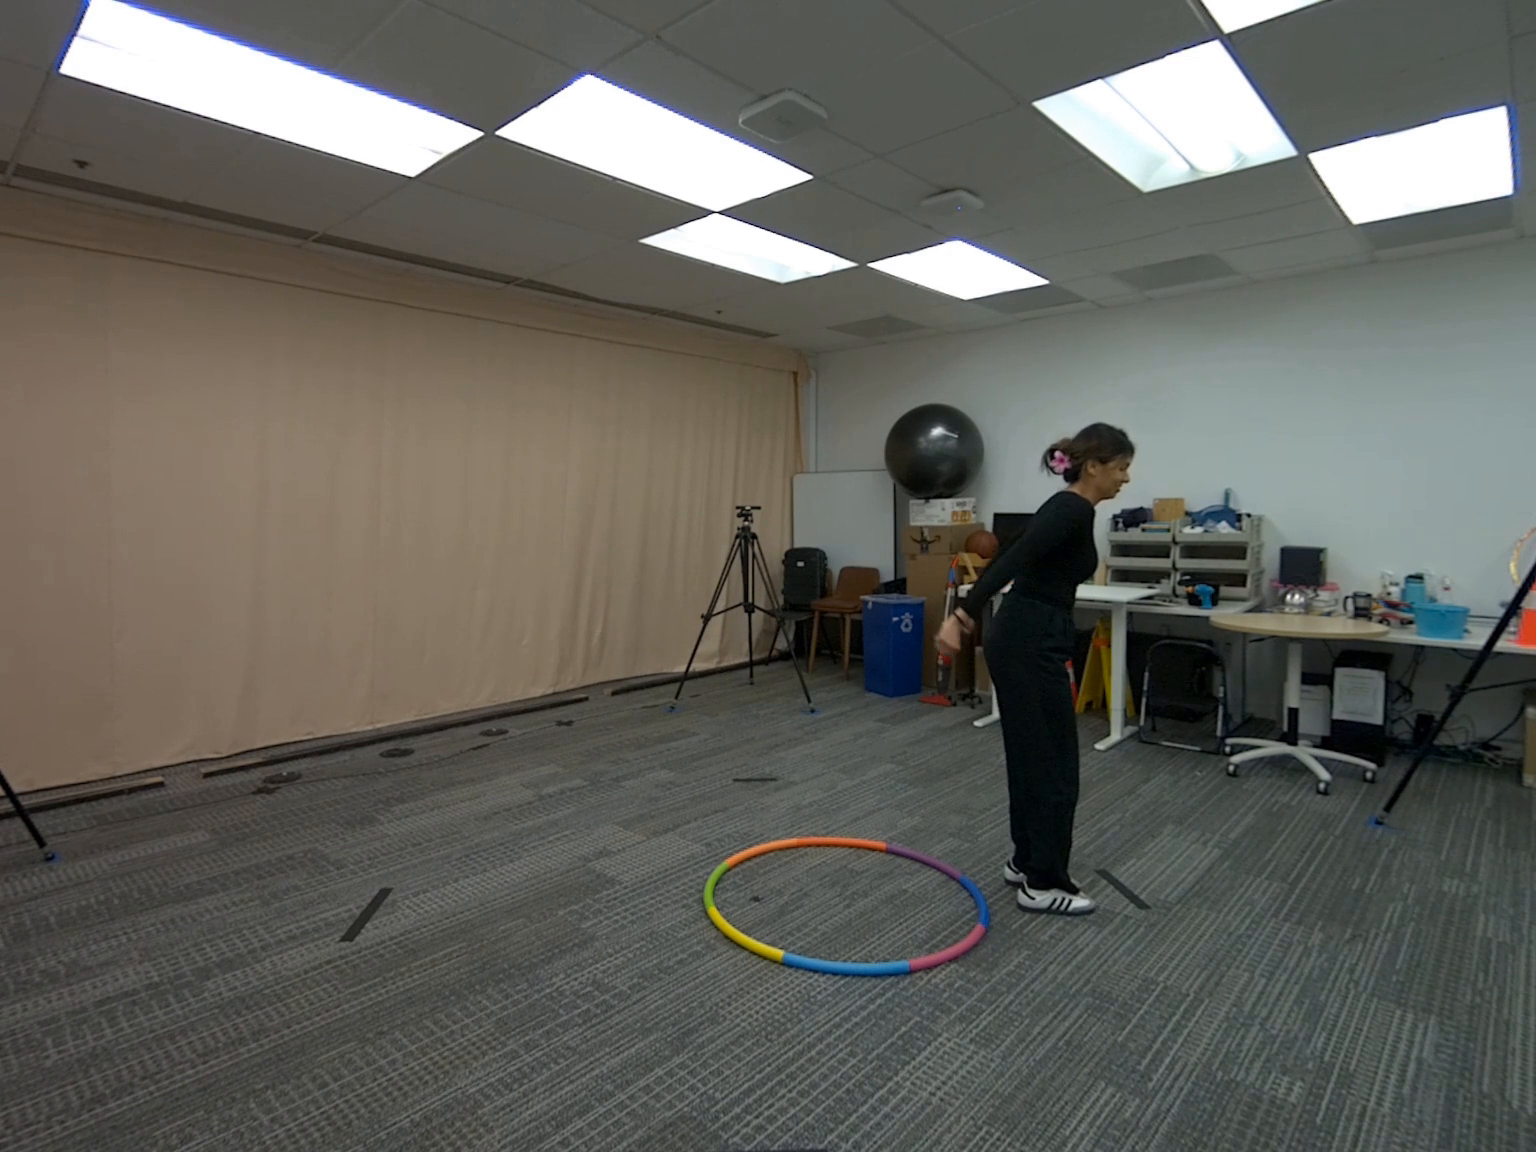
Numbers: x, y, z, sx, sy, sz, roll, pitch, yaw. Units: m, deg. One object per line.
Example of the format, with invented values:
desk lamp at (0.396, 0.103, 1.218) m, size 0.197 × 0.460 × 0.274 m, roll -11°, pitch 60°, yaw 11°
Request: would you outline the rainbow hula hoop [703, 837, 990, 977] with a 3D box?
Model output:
rainbow hula hoop at (0.266, 1.115, 2.970) m, size 0.978 × 0.035 × 0.982 m, roll 0°, pitch 5°, yaw -2°
